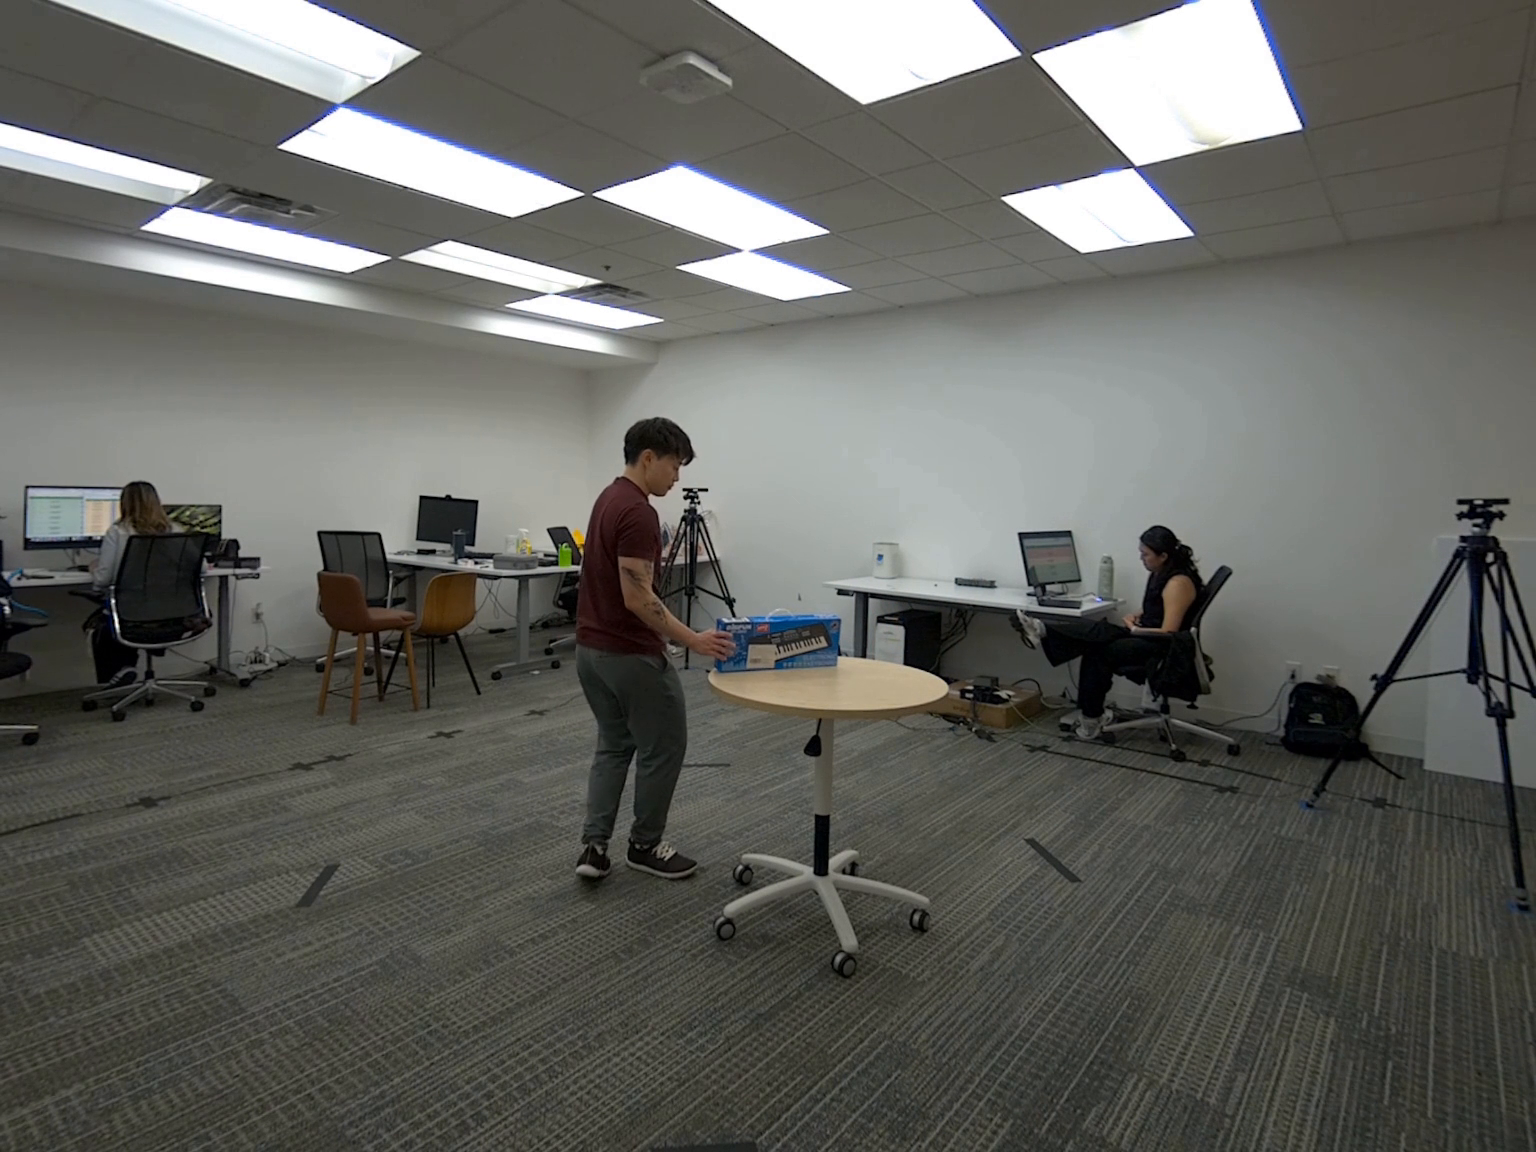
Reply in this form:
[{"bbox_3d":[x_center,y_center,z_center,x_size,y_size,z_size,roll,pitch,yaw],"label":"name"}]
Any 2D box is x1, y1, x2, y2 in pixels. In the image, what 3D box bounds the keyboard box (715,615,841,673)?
[{"bbox_3d":[0.027,0.231,2.886,0.428,0.175,0.060,-1,7,-20],"label":"keyboard box"}]
